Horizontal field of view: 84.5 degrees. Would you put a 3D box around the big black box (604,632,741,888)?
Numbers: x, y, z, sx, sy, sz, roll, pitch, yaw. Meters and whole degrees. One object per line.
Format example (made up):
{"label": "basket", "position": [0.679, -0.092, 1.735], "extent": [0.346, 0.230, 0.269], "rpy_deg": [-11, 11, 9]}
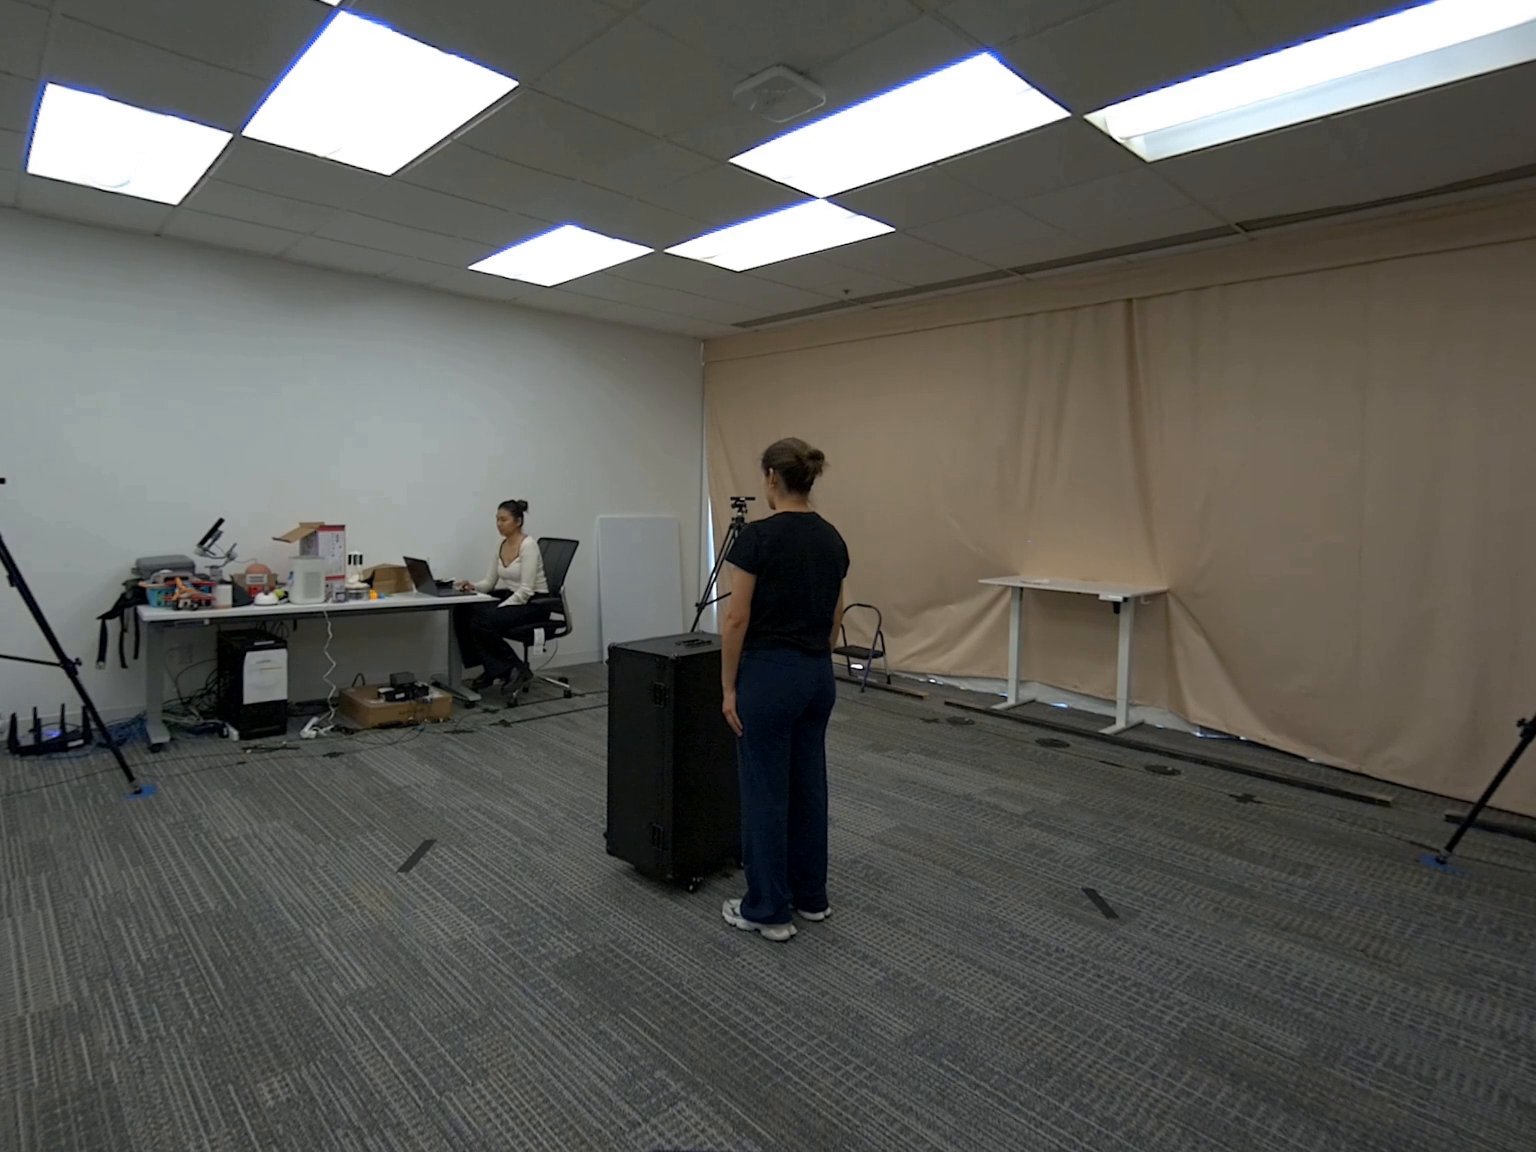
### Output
{"label": "big black box", "position": [-0.320, 0.677, 3.145], "extent": [0.406, 0.860, 0.509], "rpy_deg": [2, 3, 41]}
